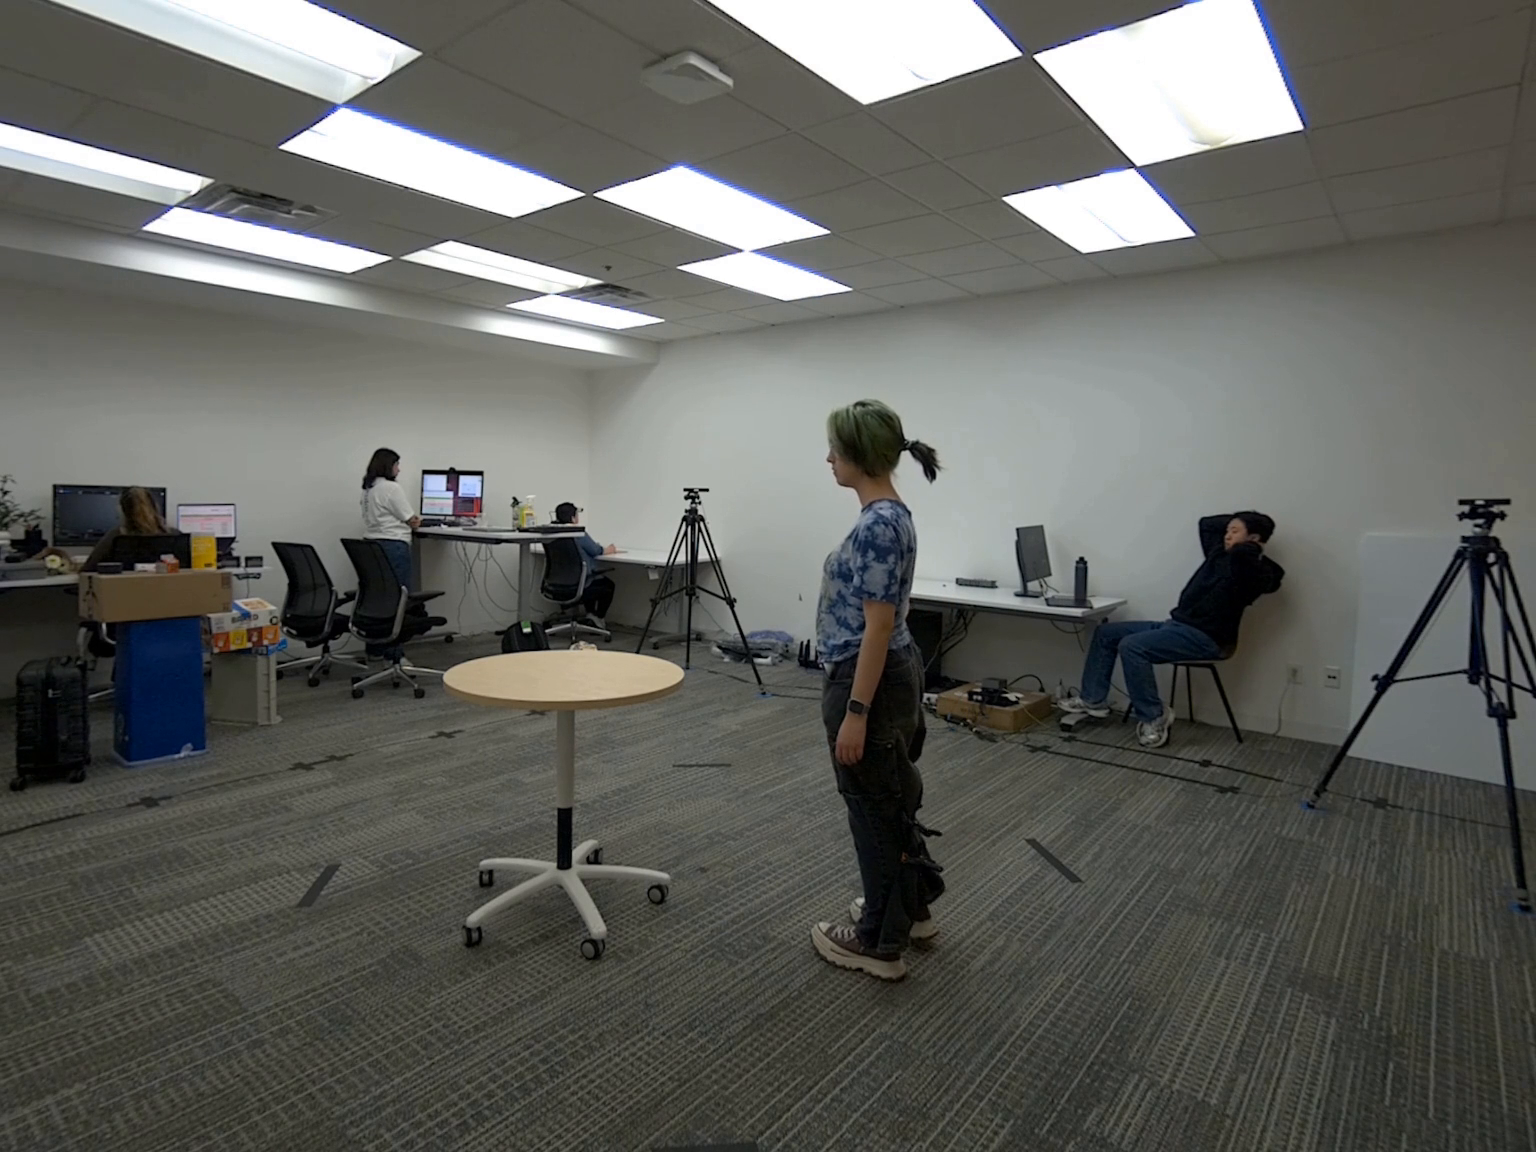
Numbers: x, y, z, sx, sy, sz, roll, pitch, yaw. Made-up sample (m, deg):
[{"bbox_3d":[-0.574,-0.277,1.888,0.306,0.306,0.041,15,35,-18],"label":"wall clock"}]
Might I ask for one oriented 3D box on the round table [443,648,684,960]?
[{"bbox_3d":[-0.675,0.705,2.780,0.763,0.791,0.768,1,4,-2],"label":"round table"}]
